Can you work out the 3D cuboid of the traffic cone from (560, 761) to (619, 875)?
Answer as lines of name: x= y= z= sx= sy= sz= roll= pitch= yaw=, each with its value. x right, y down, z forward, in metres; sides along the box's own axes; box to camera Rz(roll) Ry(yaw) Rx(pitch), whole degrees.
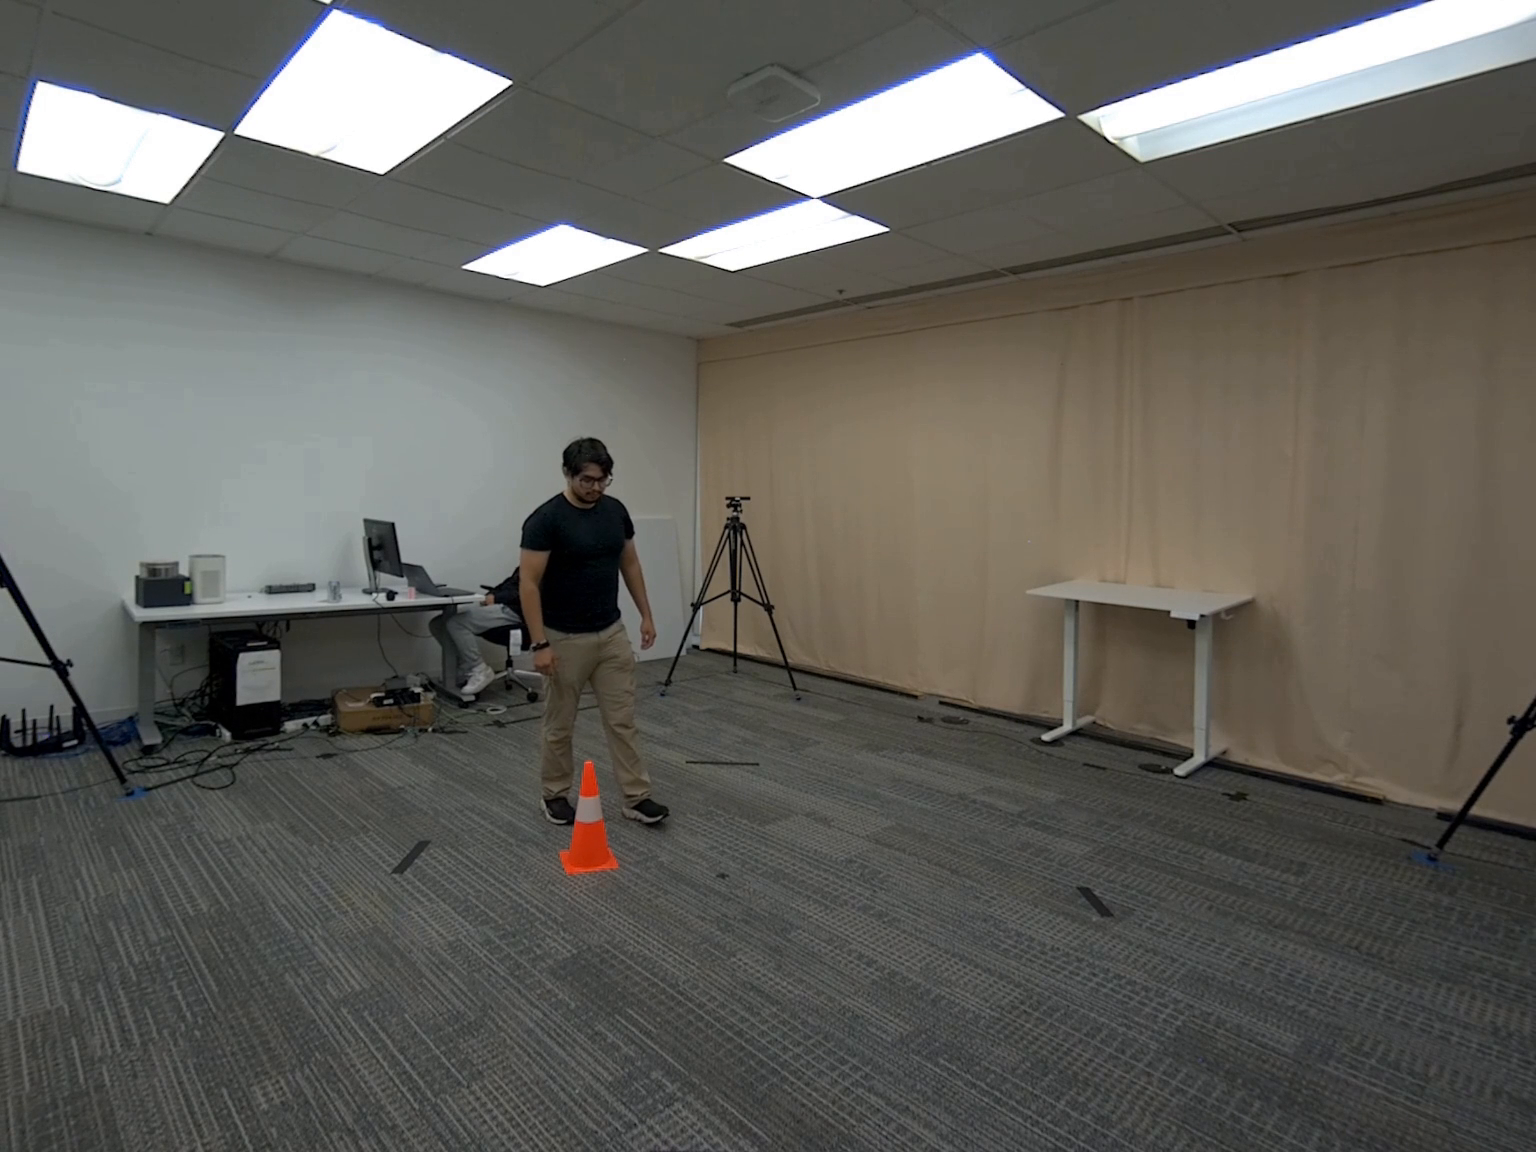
traffic cone: x=-0.701 y=0.904 z=3.206 sx=0.200 sy=0.383 sz=0.209 roll=1 pitch=3 yaw=-22
